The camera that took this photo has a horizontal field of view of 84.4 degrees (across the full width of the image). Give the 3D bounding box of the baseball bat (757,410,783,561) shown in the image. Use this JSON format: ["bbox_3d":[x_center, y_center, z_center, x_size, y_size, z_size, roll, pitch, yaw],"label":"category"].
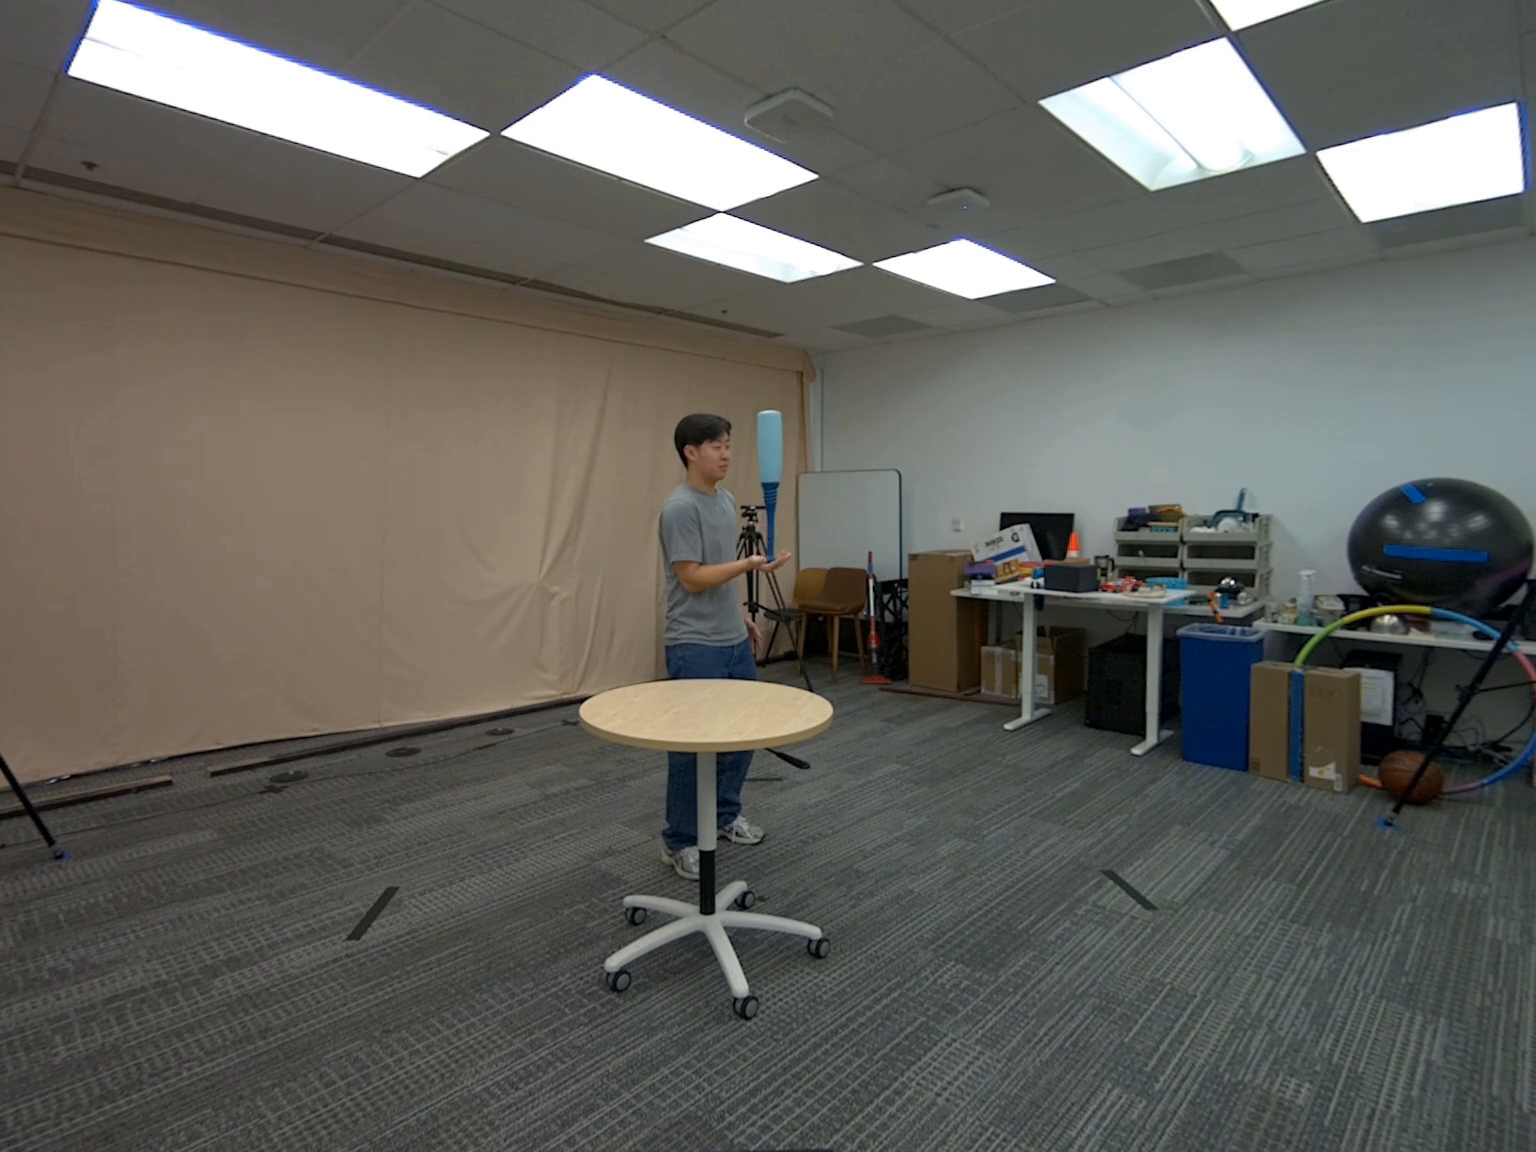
[{"bbox_3d":[0.015,-0.315,3.000,0.089,0.541,0.089,-2,6,-2],"label":"baseball bat"}]
